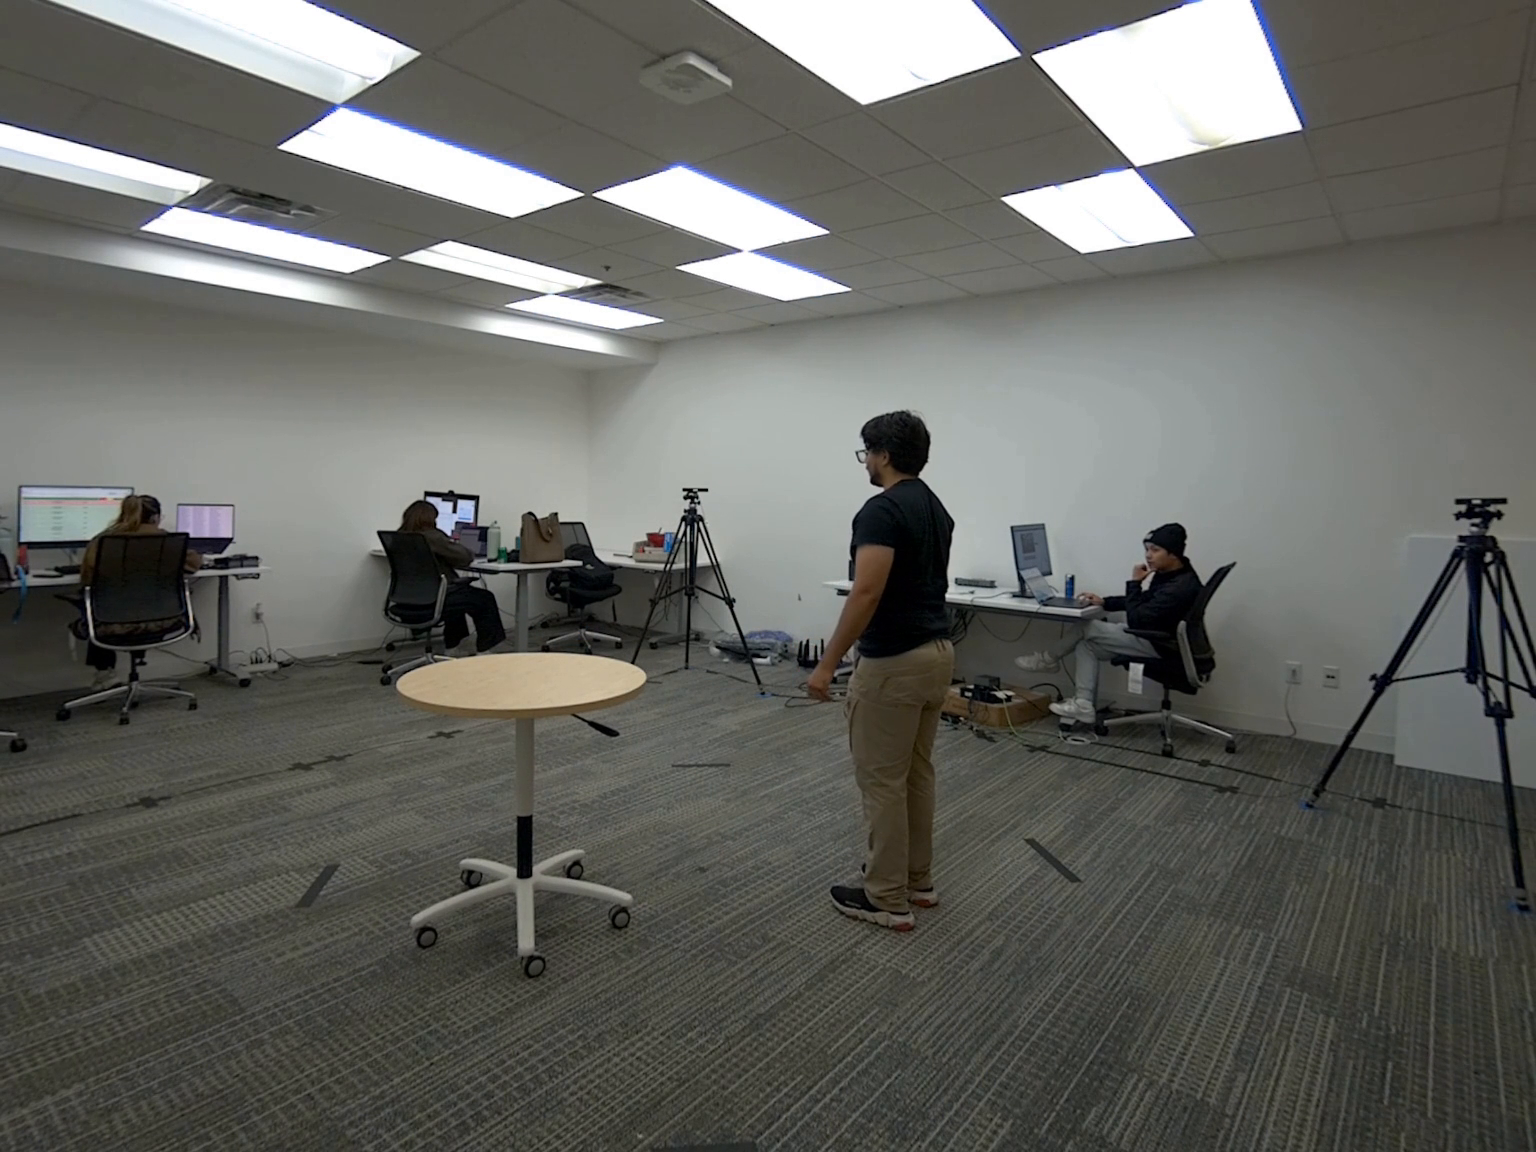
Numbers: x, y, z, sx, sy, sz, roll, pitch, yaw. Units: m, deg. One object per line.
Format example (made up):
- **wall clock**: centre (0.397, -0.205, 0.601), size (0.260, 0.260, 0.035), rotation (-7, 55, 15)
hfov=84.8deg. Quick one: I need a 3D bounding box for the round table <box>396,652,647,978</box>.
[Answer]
- **round table**: centre (-0.796, 0.707, 2.729), size (0.784, 0.783, 0.789), rotation (1, 5, -2)
